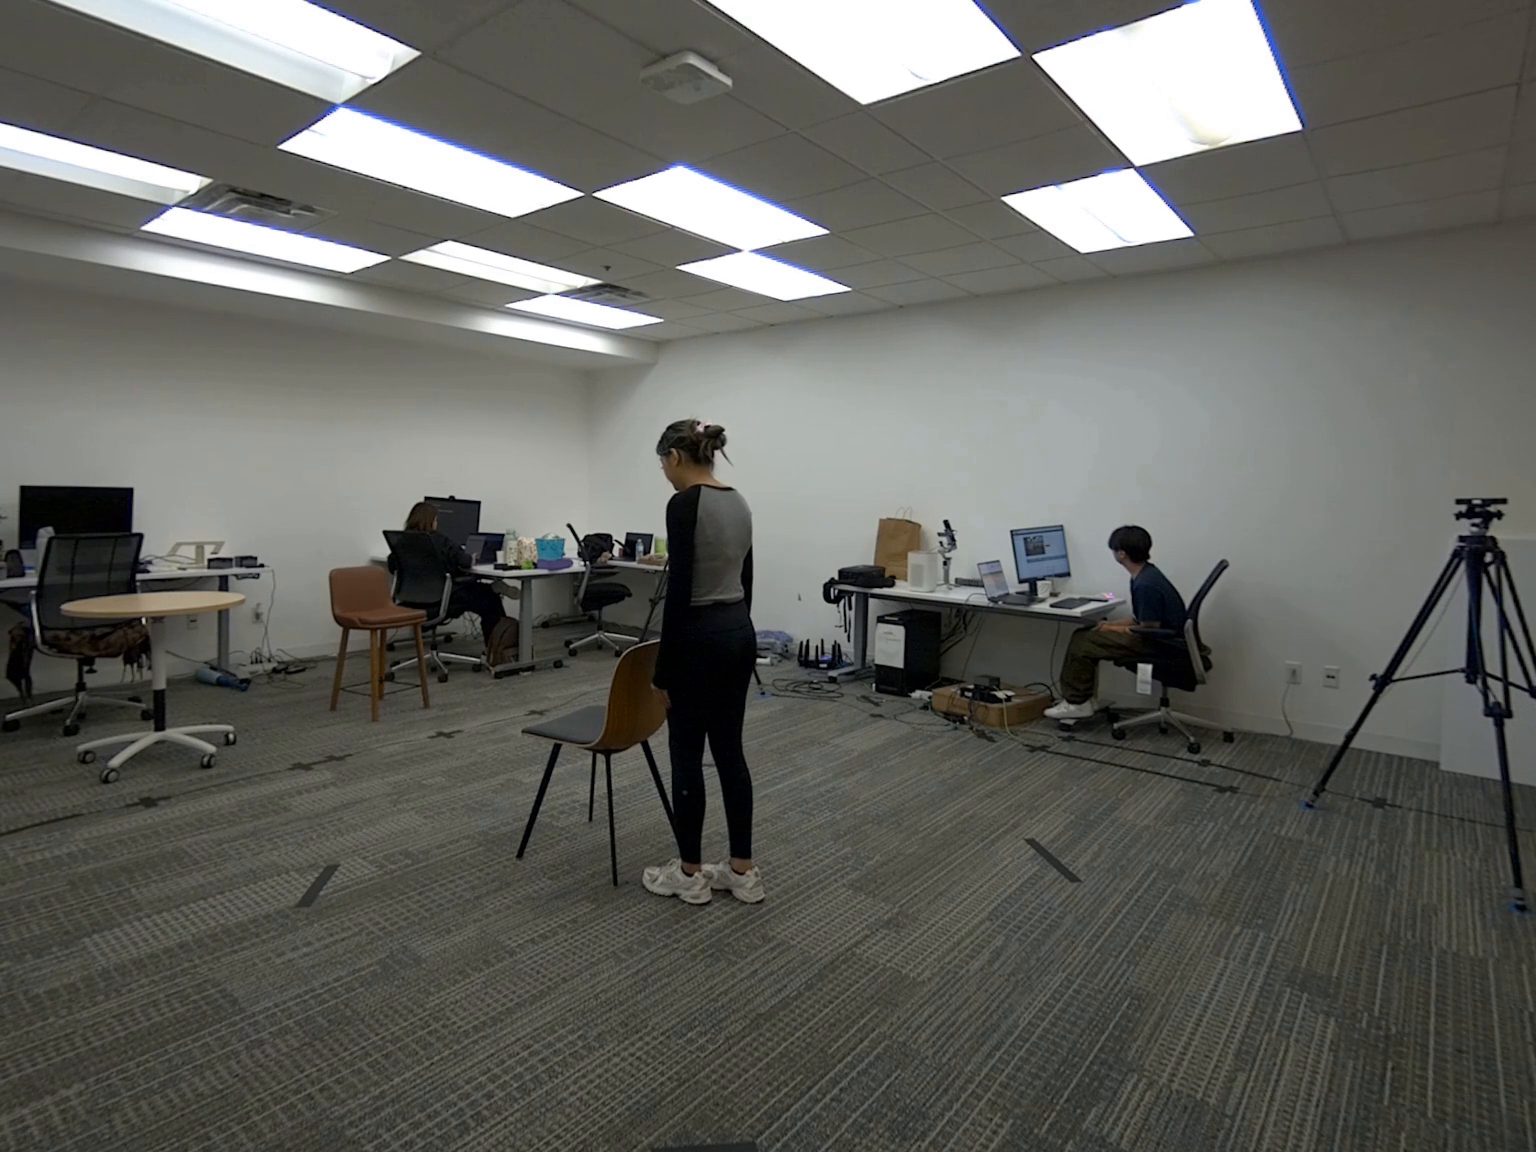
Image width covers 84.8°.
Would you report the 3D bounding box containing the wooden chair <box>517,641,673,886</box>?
[{"bbox_3d":[-0.651,0.623,3.234,0.538,0.873,0.466,8,6,27],"label":"wooden chair"}]
